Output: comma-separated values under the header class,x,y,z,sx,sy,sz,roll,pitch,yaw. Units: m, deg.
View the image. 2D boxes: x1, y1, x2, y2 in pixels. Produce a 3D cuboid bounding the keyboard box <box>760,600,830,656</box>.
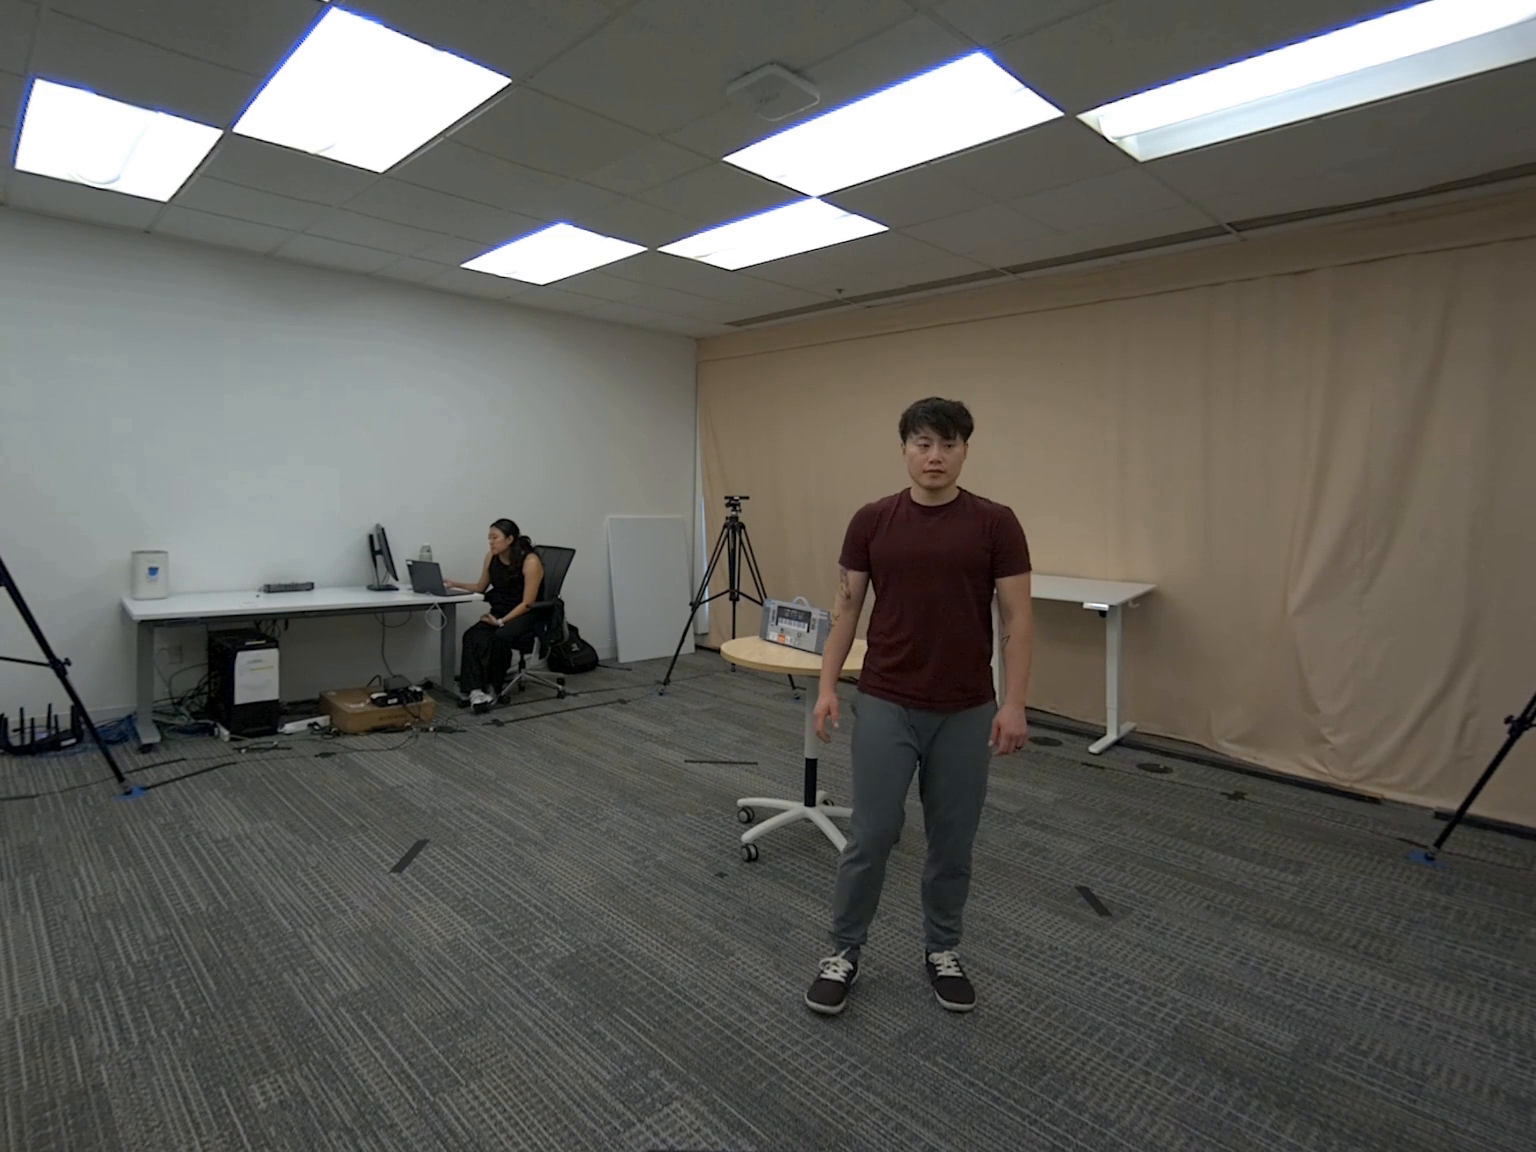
class,x,y,z,sx,sy,sz,roll,pitch,yaw
keyboard box,0.117,0.209,3.477,0.057,0.176,0.448,8,1,-36
